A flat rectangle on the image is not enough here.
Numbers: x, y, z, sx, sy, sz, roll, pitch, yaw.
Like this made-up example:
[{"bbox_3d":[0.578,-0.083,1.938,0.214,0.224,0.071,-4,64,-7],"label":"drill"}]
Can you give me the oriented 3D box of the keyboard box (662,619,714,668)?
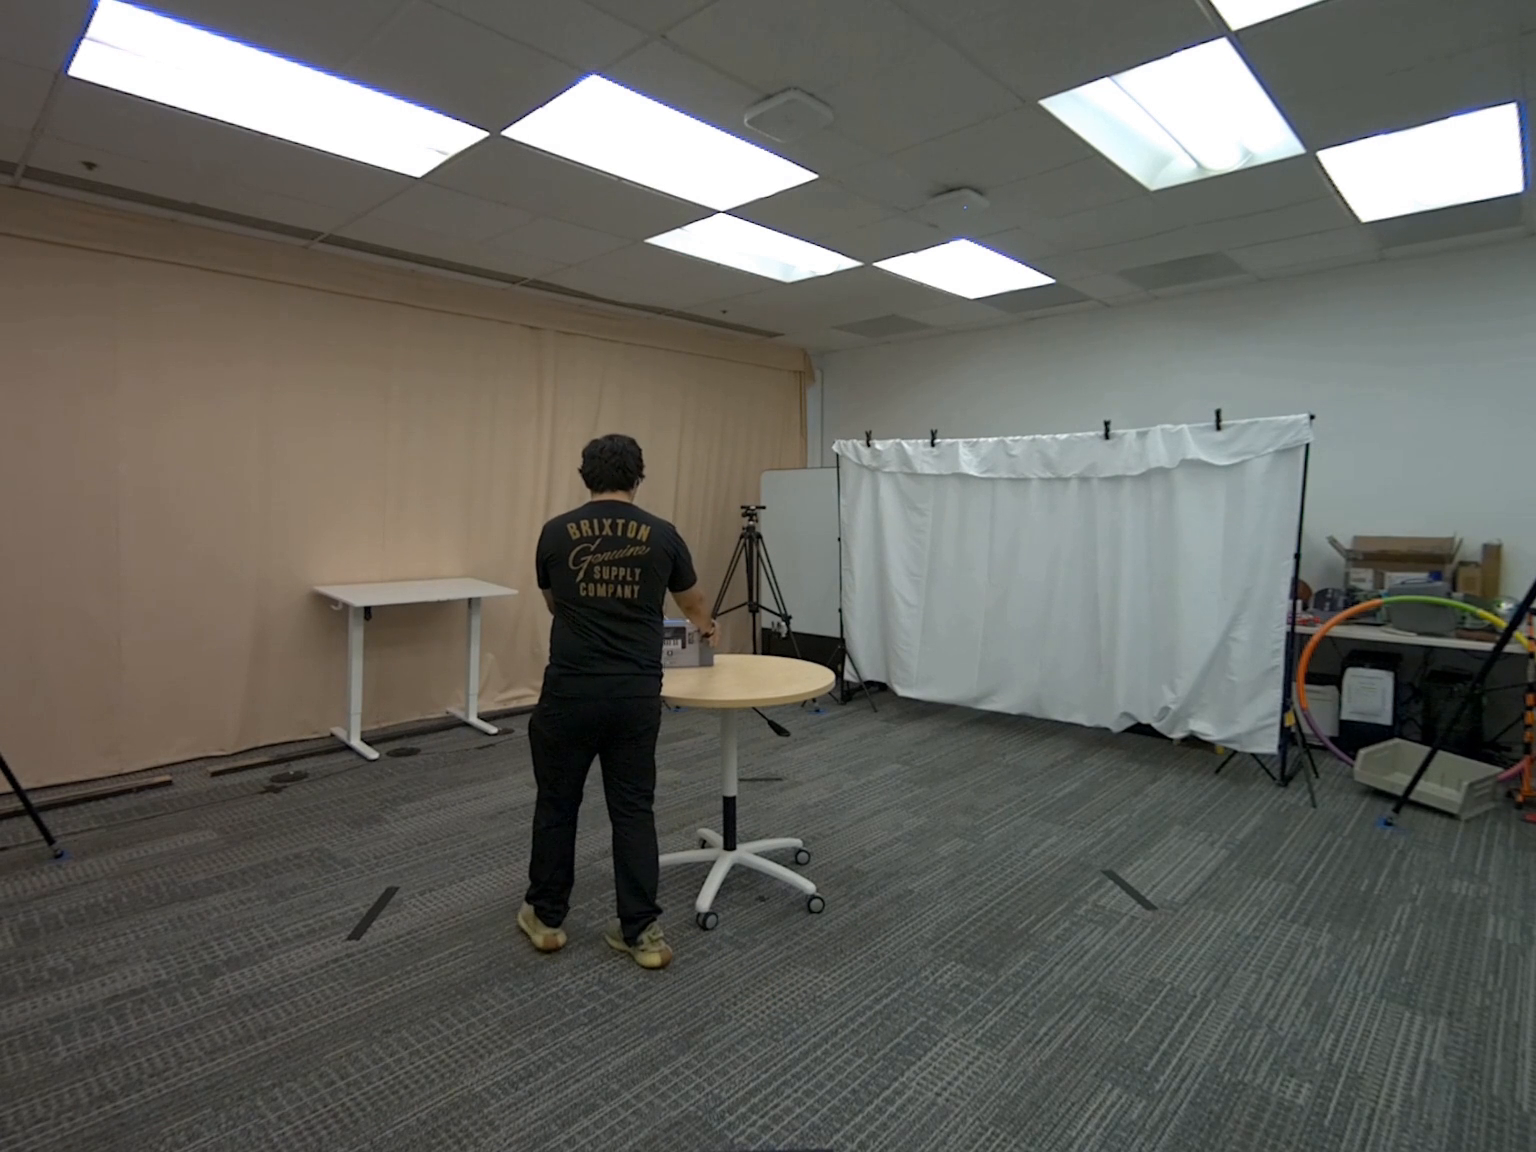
[{"bbox_3d":[-0.423,0.256,3.178,0.433,0.175,0.059,0,3,-7],"label":"keyboard box"}]
